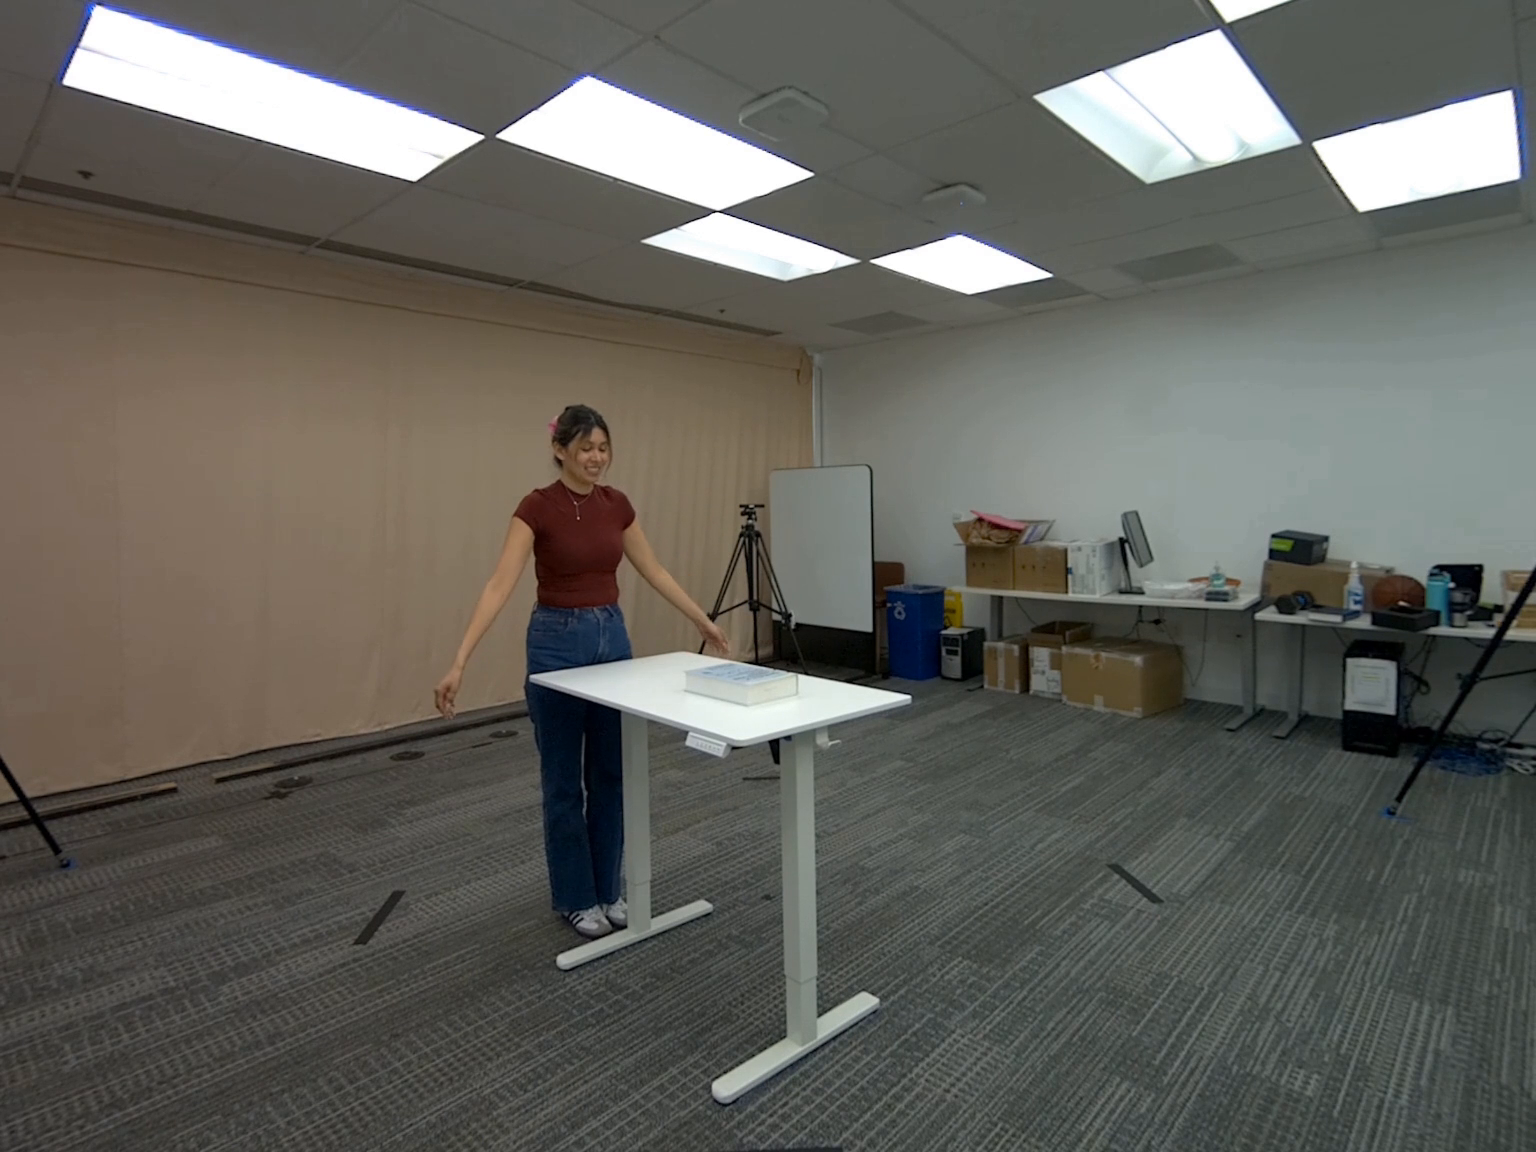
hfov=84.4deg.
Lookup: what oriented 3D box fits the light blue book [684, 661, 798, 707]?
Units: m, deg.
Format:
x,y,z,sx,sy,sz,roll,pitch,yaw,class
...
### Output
x,y,z,sx,sy,sz,roll,pitch,yaw,class
-0.073,0.294,2.276,0.185,0.059,0.269,-5,6,-43,light blue book
